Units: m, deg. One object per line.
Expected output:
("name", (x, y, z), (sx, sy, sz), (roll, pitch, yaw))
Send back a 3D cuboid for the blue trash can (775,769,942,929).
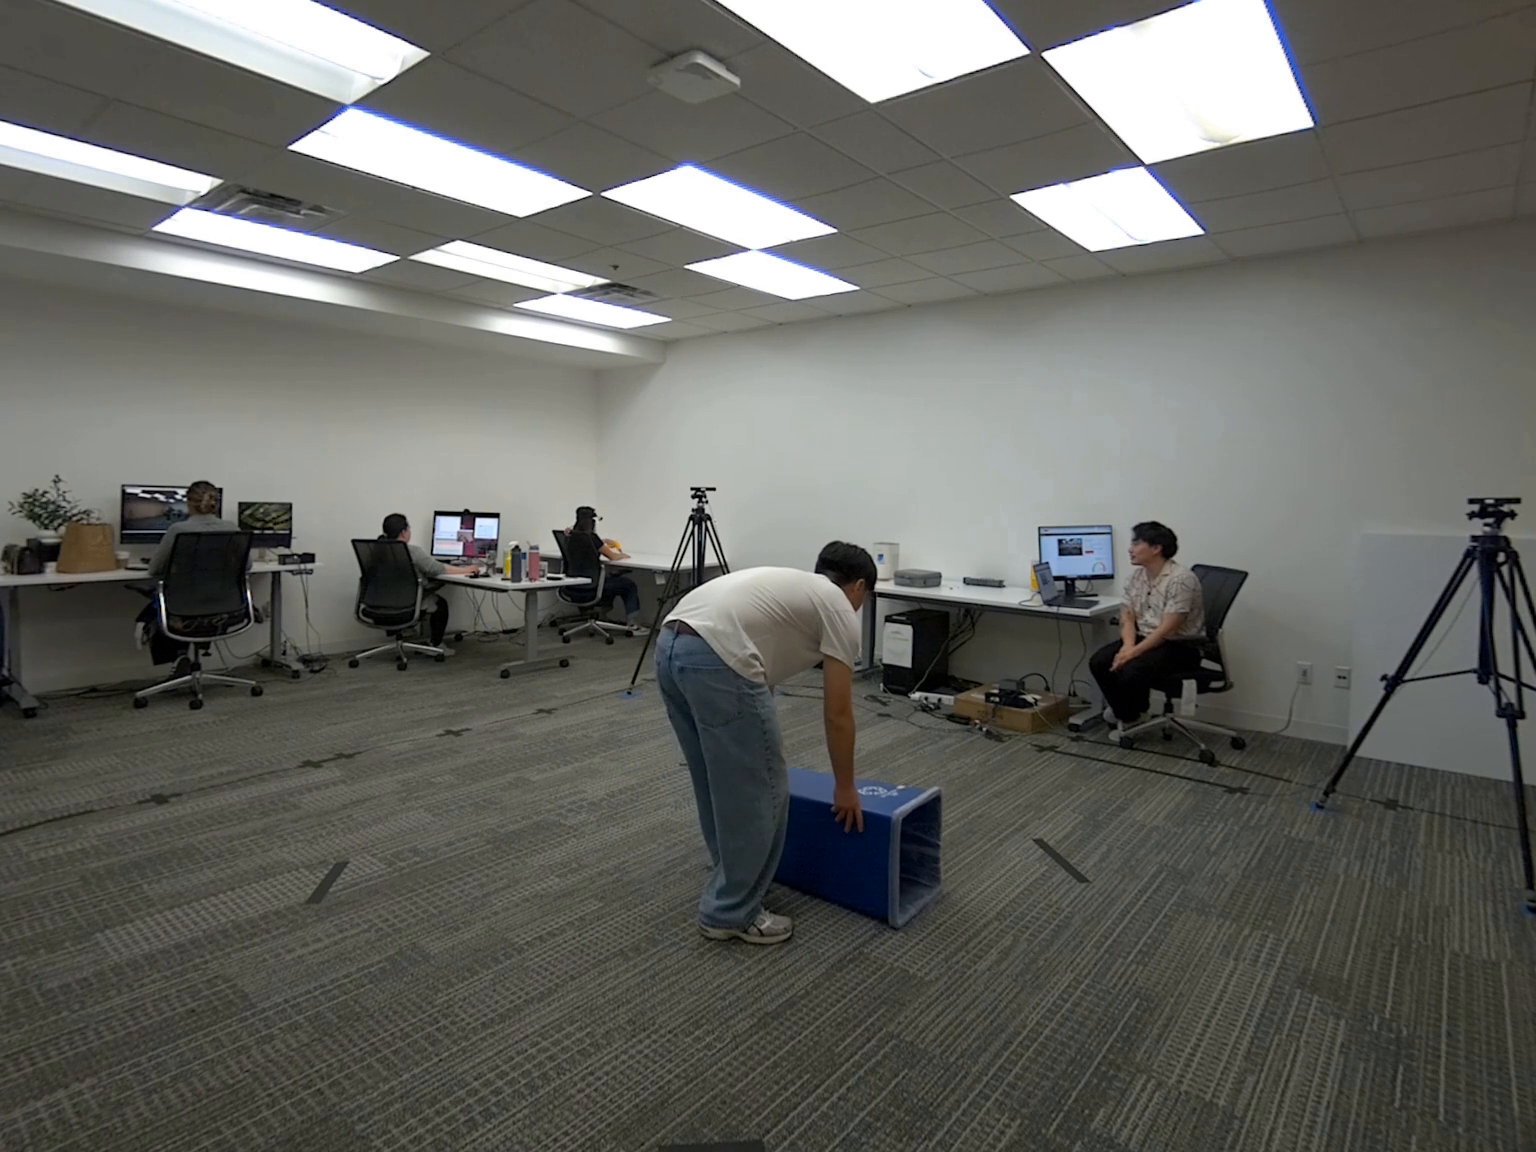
("blue trash can", (0.206, 0.913, 3.042), (0.735, 0.378, 0.363), (1, 2, 35))
